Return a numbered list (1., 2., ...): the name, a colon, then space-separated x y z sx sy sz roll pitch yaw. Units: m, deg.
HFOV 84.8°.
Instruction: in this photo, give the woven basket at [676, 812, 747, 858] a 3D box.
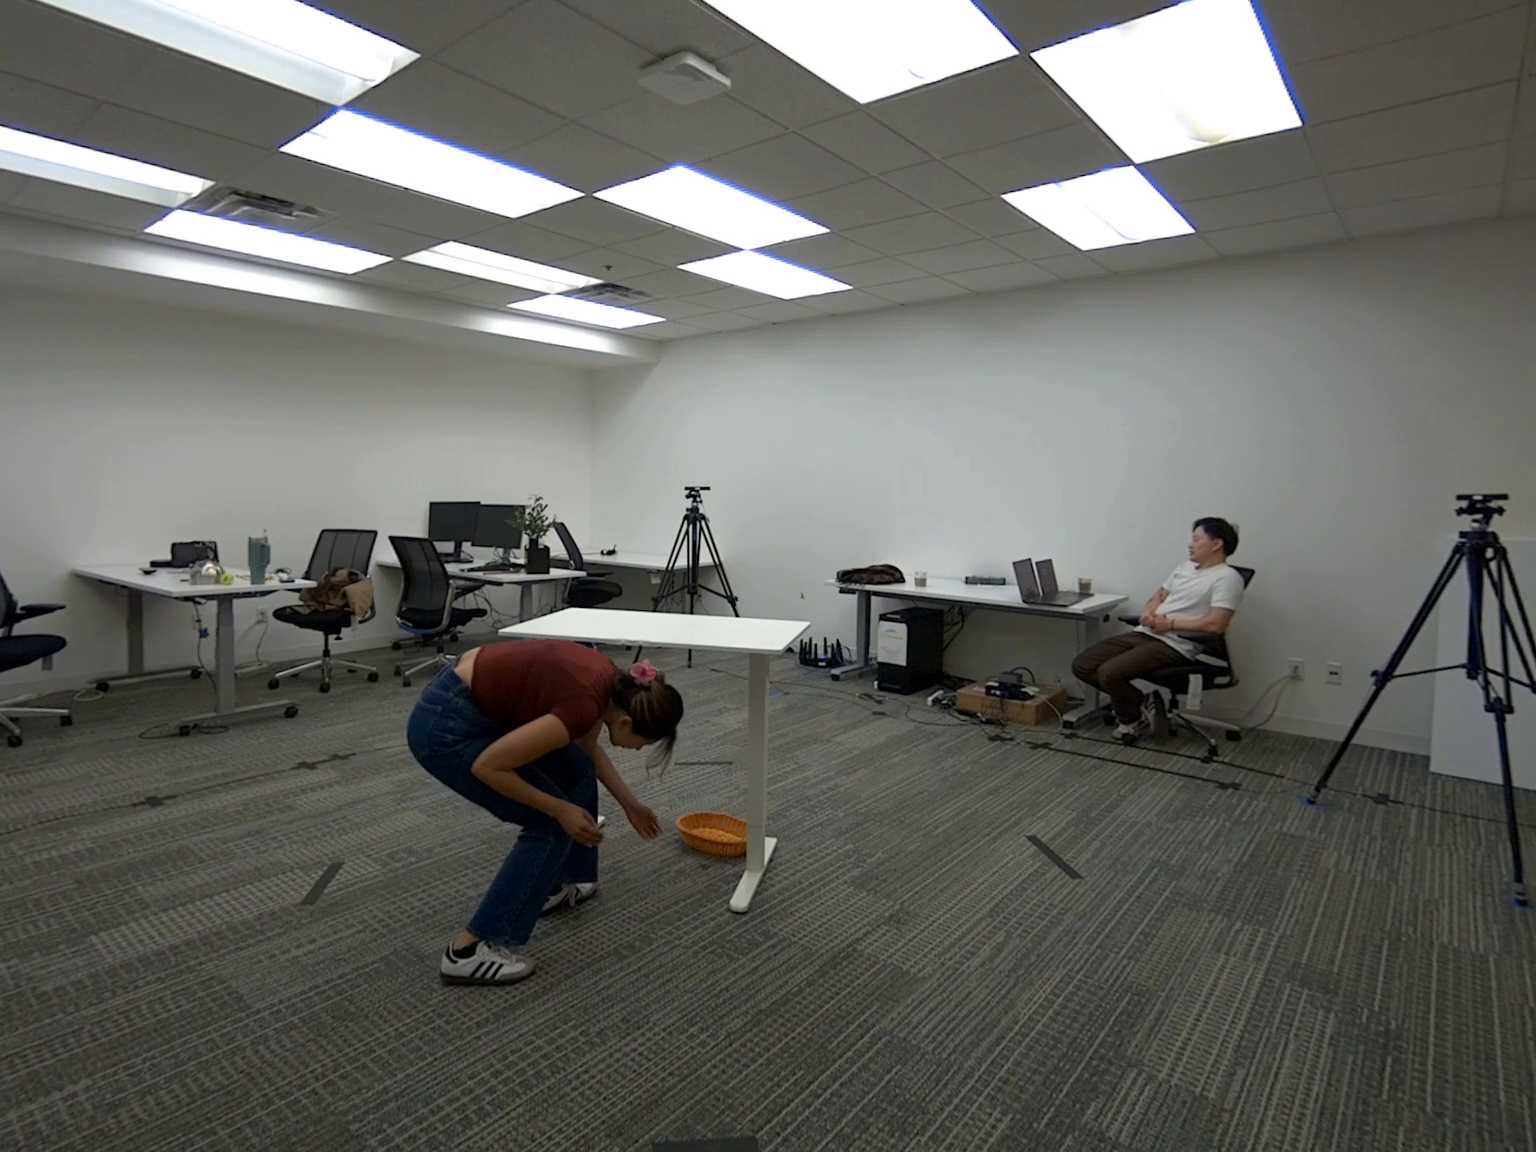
1. woven basket: -0.217 1.003 3.313 0.362 0.073 0.245 5 6 37
